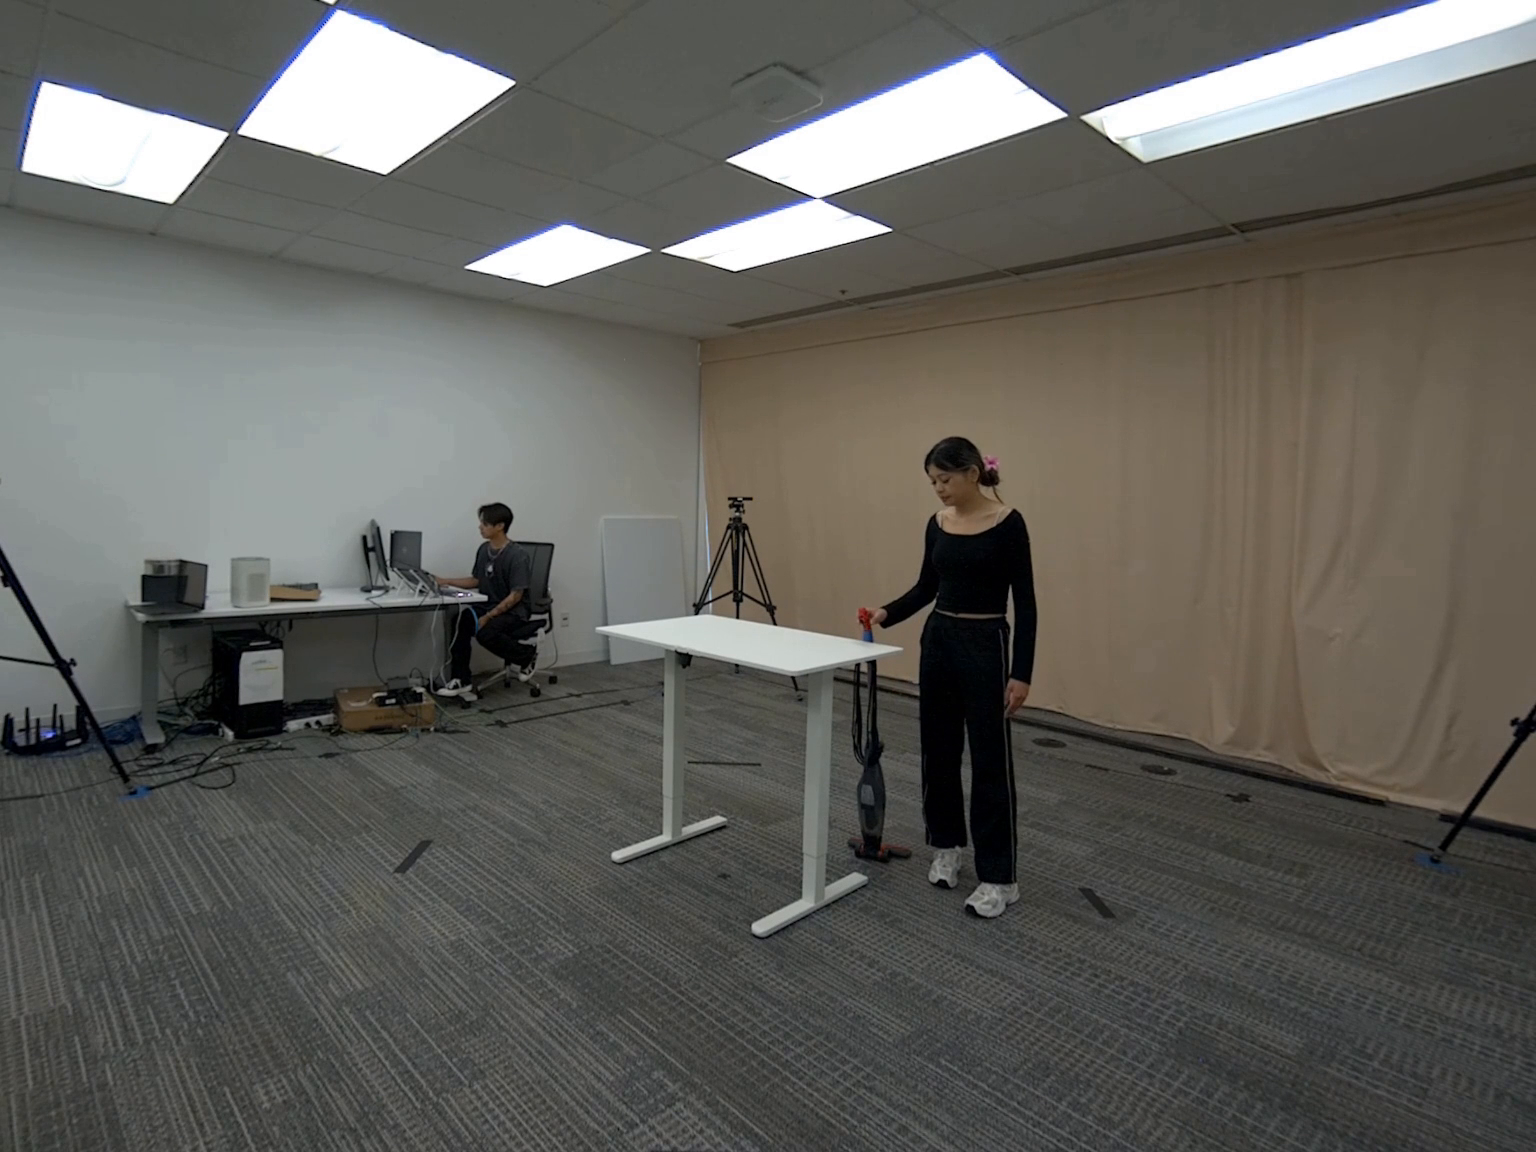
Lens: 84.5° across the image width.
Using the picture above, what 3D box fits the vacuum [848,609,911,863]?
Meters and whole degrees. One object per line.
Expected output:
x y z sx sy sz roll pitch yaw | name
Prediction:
0.380 0.610 3.167 0.258 1.034 0.143 7 21 30 | vacuum
